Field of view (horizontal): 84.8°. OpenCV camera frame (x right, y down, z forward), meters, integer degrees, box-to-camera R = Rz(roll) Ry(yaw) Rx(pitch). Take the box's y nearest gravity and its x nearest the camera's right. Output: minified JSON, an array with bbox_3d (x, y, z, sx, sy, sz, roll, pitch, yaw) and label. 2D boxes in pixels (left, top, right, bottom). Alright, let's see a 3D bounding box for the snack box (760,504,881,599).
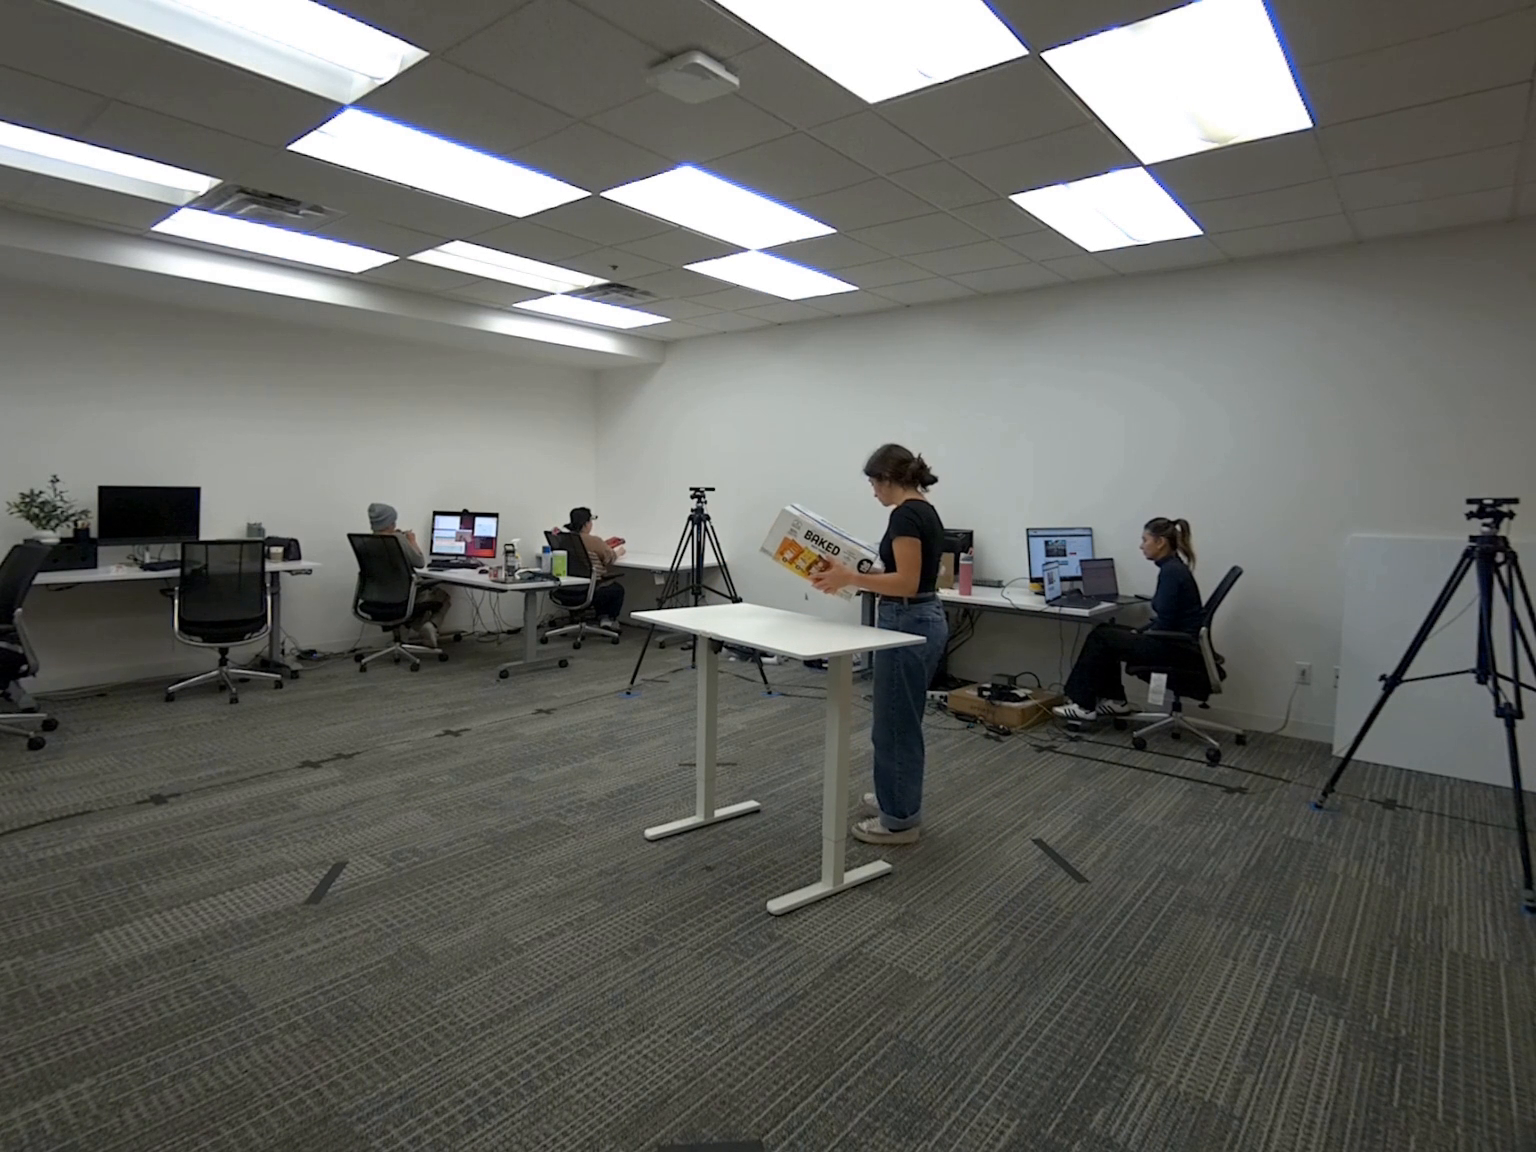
[{"bbox_3d":[0.203,-0.106,3.417,0.410,0.205,0.338,30,12,7],"label":"snack box"}]
